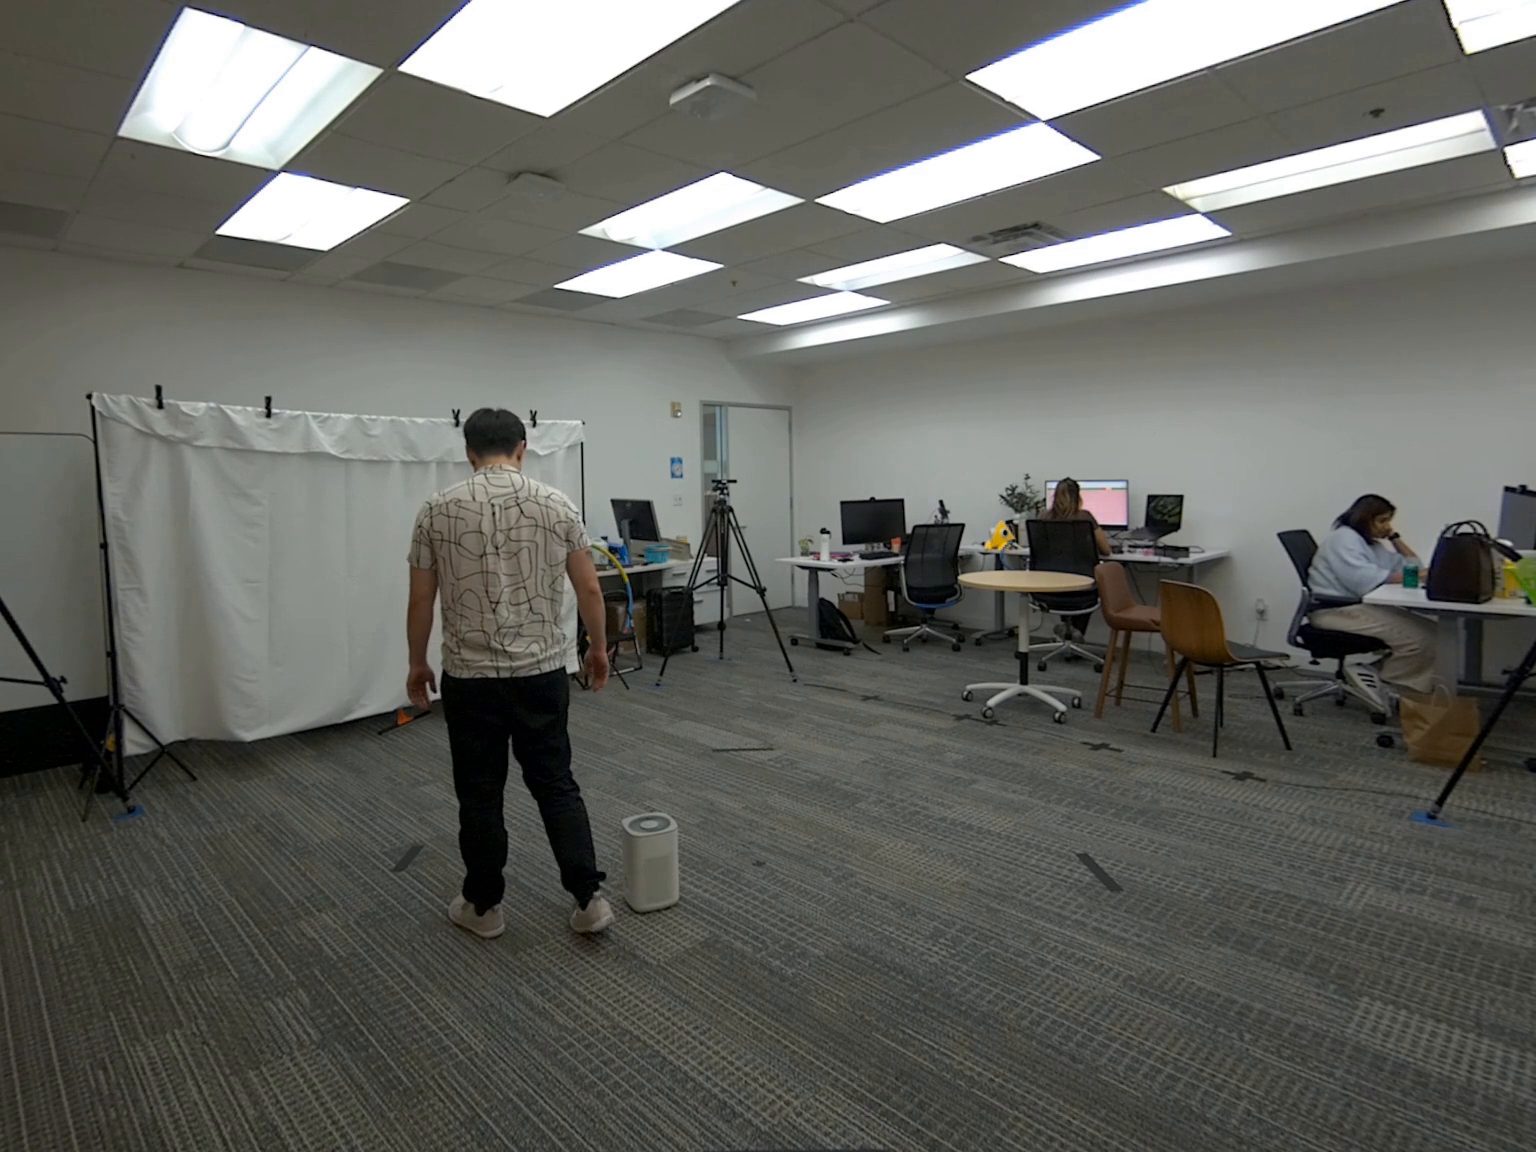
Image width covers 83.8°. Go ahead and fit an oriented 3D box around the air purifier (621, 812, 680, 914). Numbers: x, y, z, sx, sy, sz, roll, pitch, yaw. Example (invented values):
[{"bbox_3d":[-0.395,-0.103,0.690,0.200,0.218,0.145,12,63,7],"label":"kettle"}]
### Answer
[{"bbox_3d":[-0.390,0.951,2.837,0.167,0.264,0.176,-2,5,-26],"label":"air purifier"}]
